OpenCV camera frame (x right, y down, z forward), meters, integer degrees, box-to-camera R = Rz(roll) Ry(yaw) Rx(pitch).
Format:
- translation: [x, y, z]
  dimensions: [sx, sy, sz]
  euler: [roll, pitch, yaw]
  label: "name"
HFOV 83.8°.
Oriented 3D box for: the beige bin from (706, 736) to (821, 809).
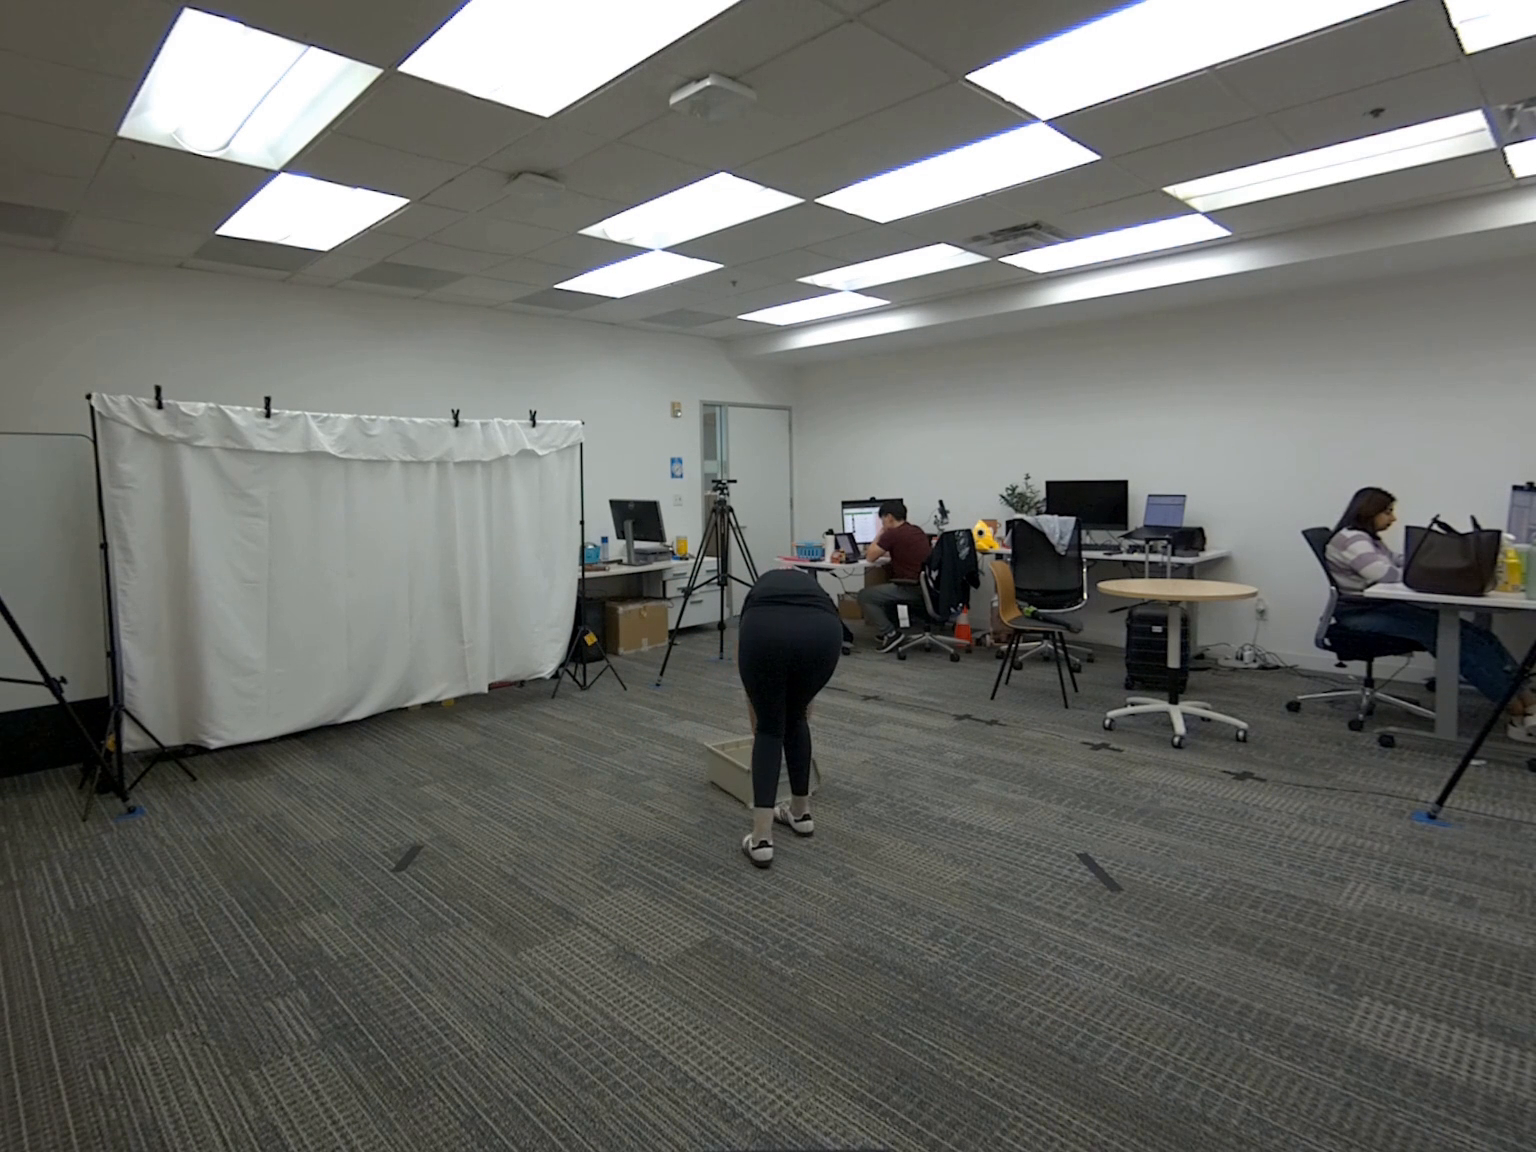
- translation: [-0.028, 0.875, 3.878]
  dimensions: [0.369, 0.188, 0.434]
  euler: [-5, 8, -29]
  label: "beige bin"
